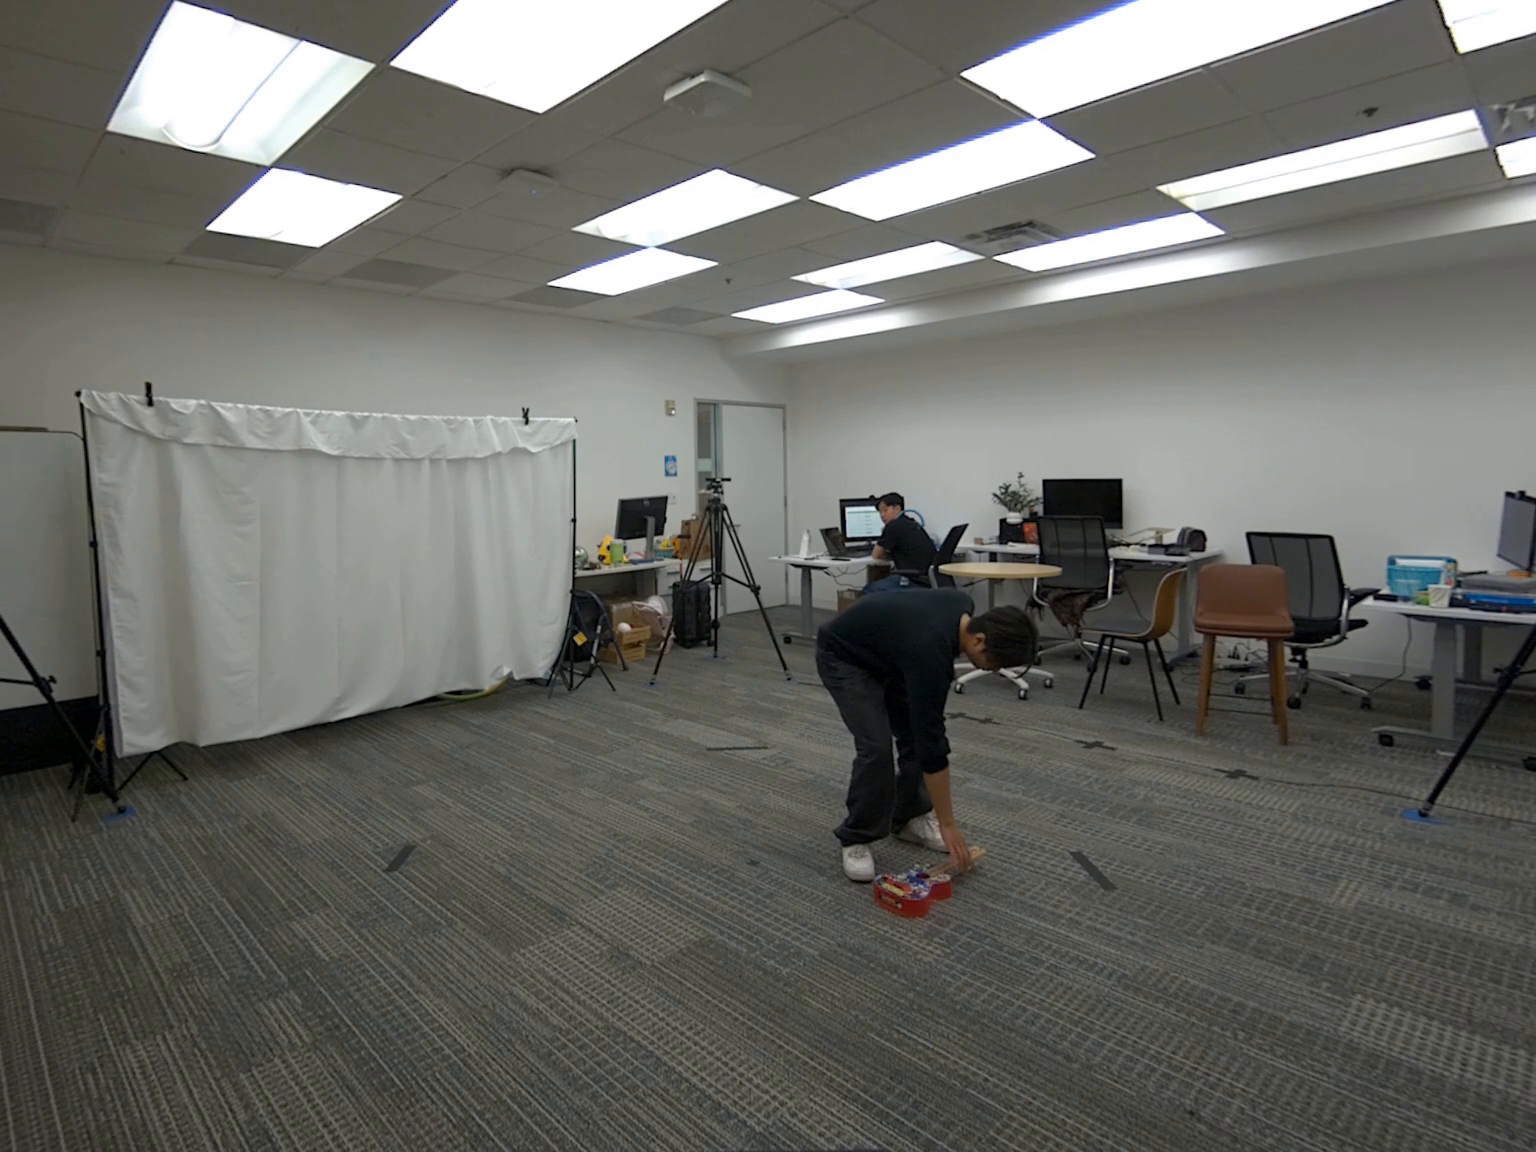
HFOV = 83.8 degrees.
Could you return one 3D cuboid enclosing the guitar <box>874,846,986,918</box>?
[{"bbox_3d":[0.595,1.030,2.873,0.486,0.070,0.198,-5,7,-30],"label":"guitar"}]
